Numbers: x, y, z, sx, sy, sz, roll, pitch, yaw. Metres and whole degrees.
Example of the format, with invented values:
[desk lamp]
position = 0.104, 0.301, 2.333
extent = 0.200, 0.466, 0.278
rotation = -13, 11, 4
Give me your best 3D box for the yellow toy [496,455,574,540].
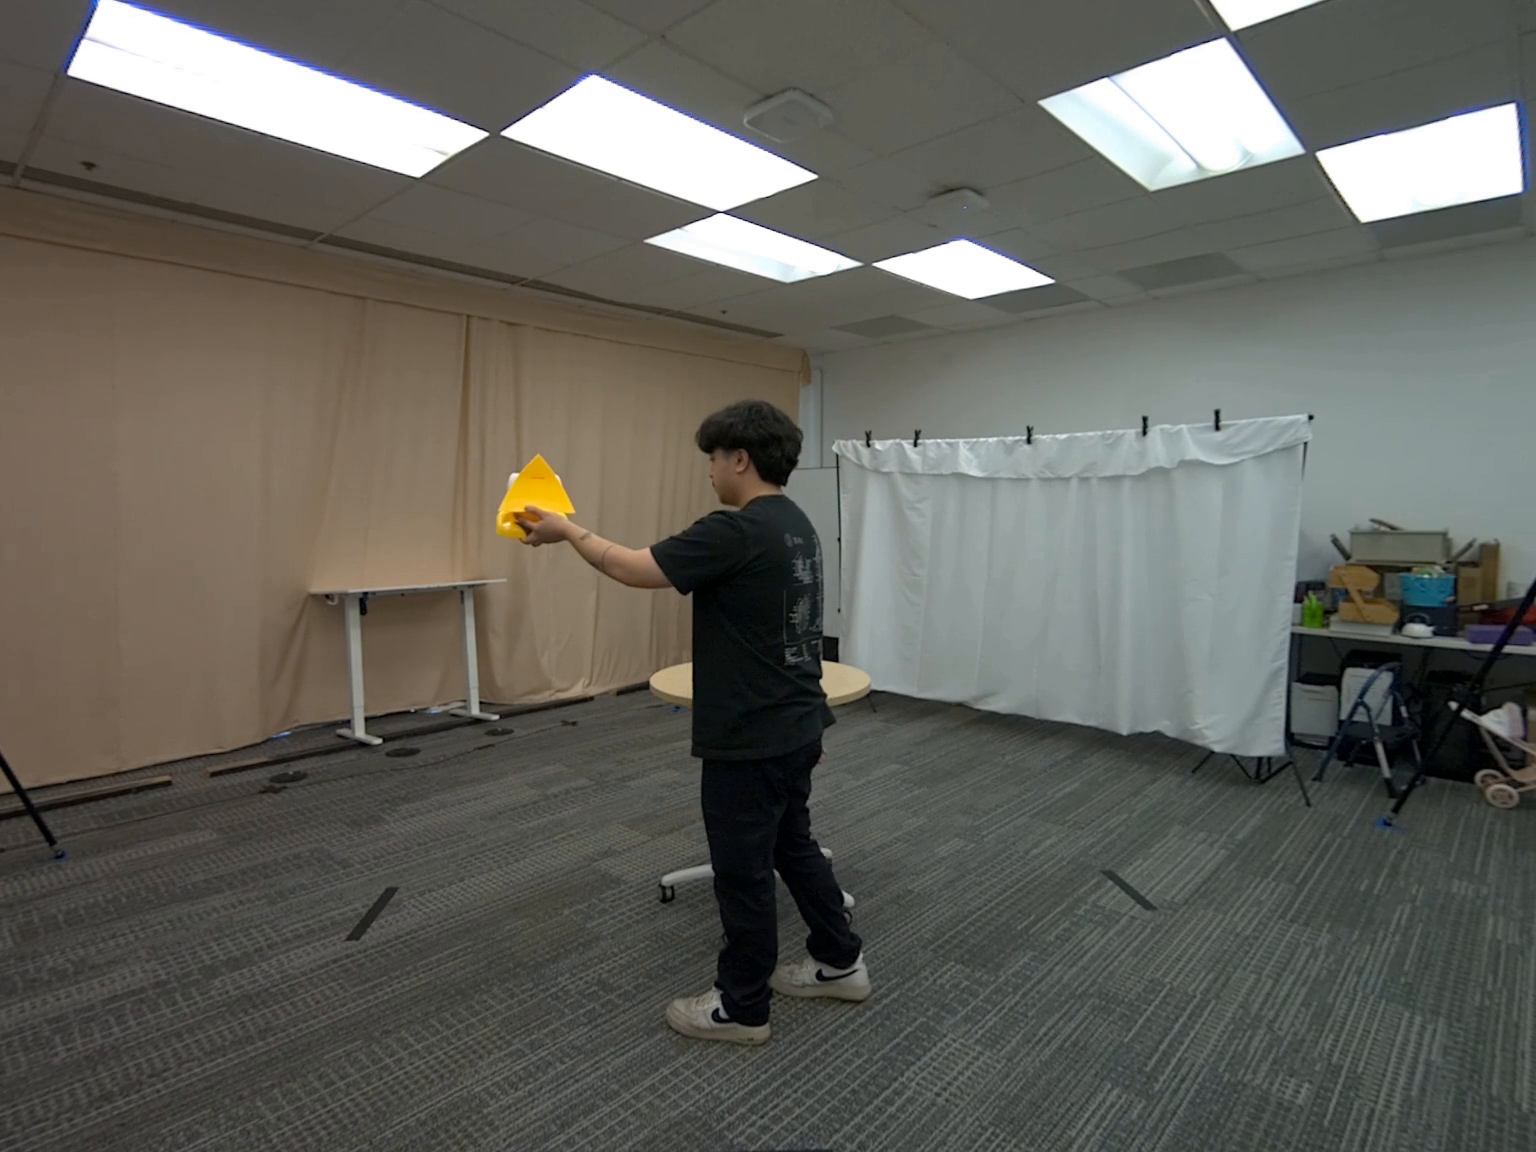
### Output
[yellow toy]
position = -0.651, -0.229, 2.330
extent = 0.200, 0.229, 0.198
rotation = -1, 15, -21
